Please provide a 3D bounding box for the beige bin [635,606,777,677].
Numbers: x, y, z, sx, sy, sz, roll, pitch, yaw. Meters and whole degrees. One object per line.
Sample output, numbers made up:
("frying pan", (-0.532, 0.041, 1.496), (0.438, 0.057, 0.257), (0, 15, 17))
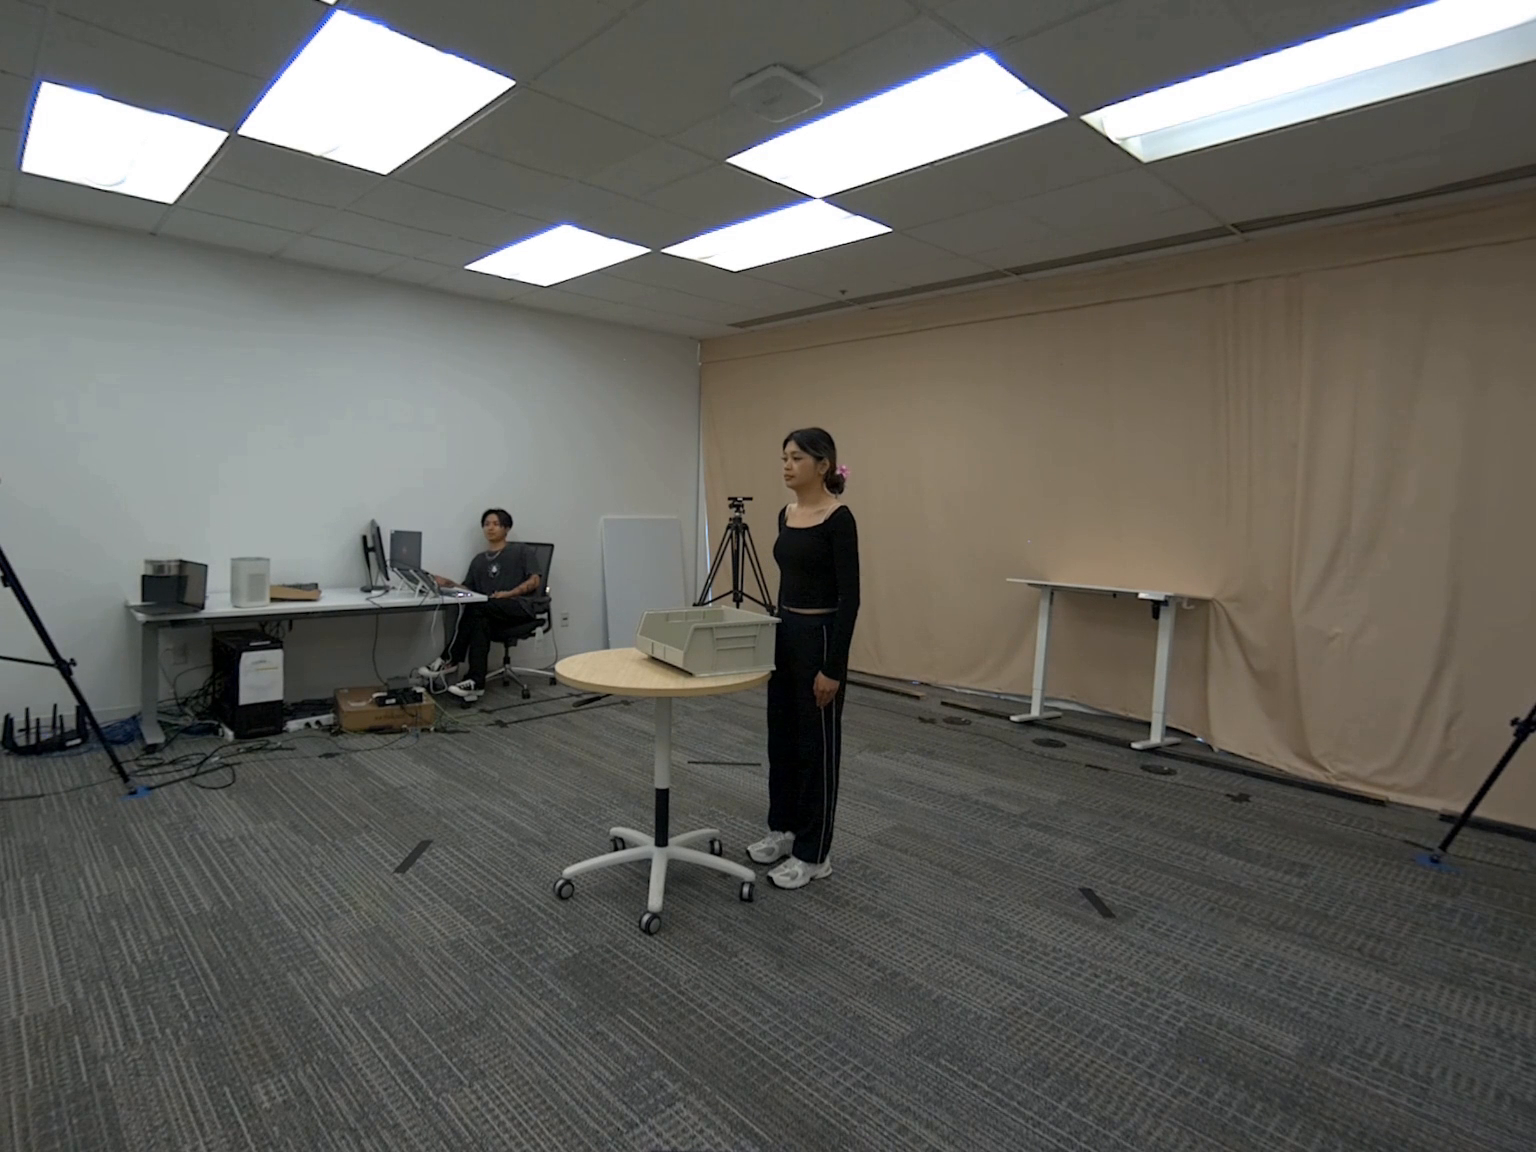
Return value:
("beige bin", (-0.234, 0.228, 3.022), (0.369, 0.188, 0.432), (0, 4, -31))
